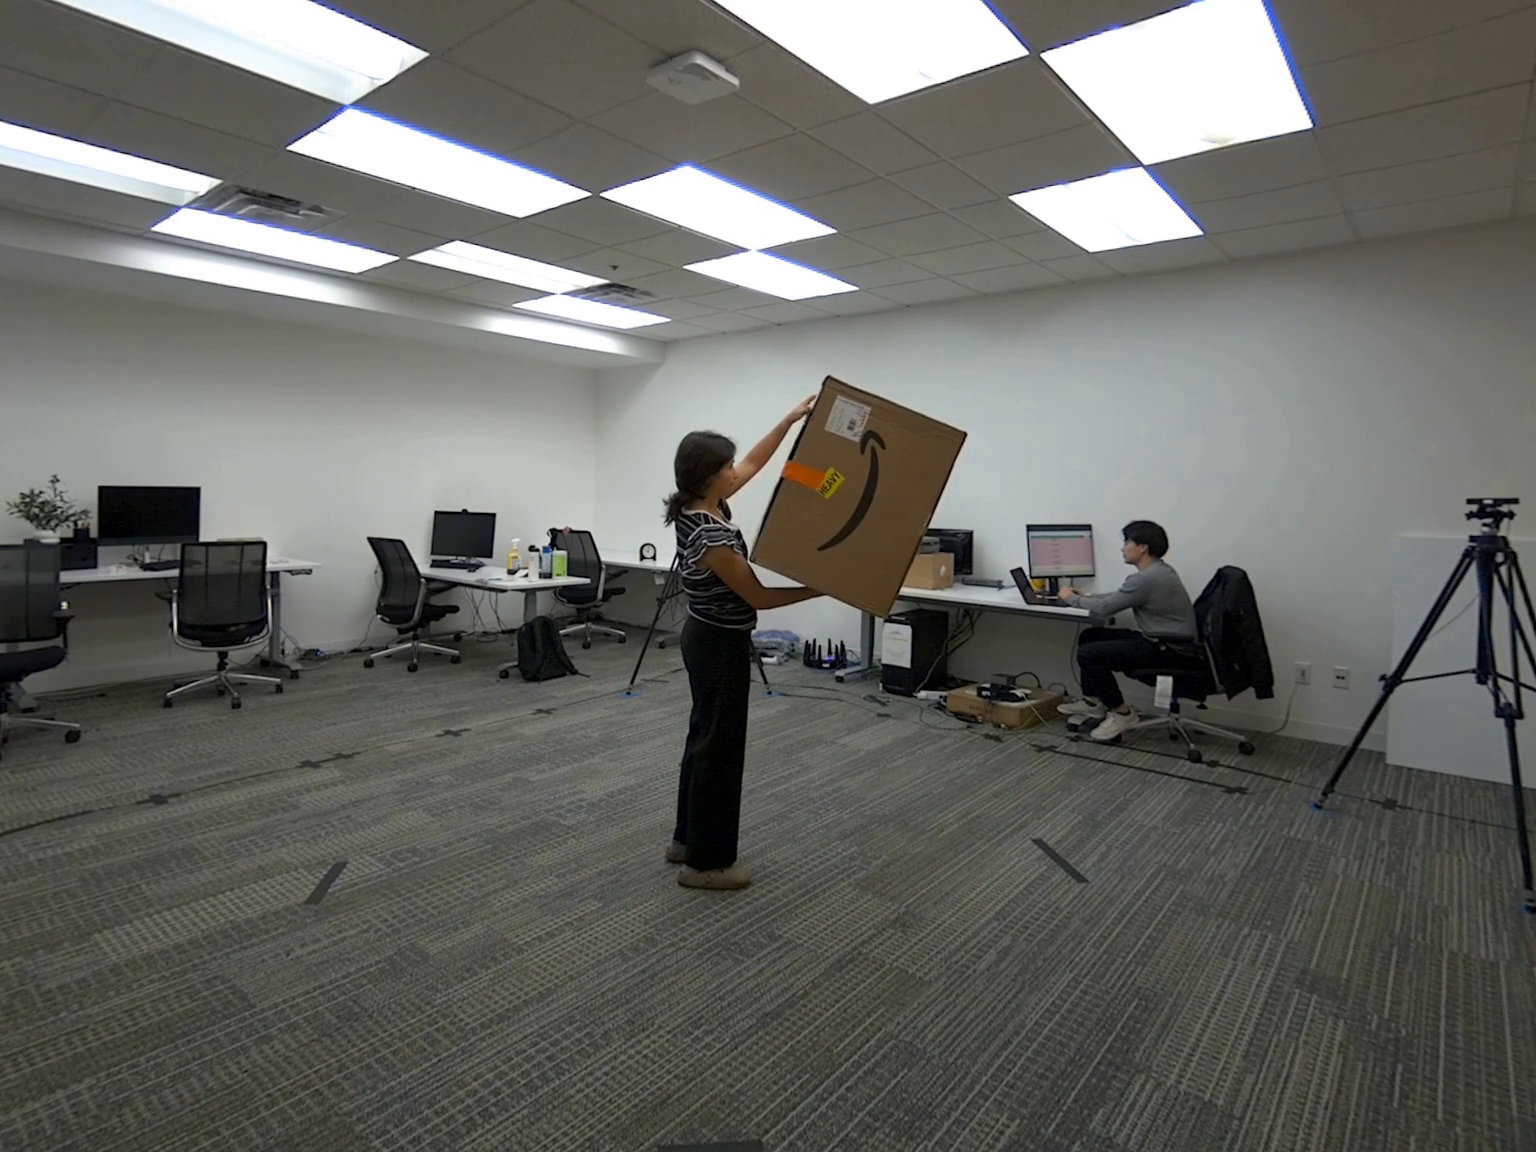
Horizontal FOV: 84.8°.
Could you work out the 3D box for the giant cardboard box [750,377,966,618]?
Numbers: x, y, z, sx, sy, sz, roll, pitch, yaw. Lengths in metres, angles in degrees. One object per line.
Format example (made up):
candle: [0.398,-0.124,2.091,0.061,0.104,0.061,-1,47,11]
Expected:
giant cardboard box: [0.230,-0.281,2.889,0.426,0.576,1.028,23,5,-2]
